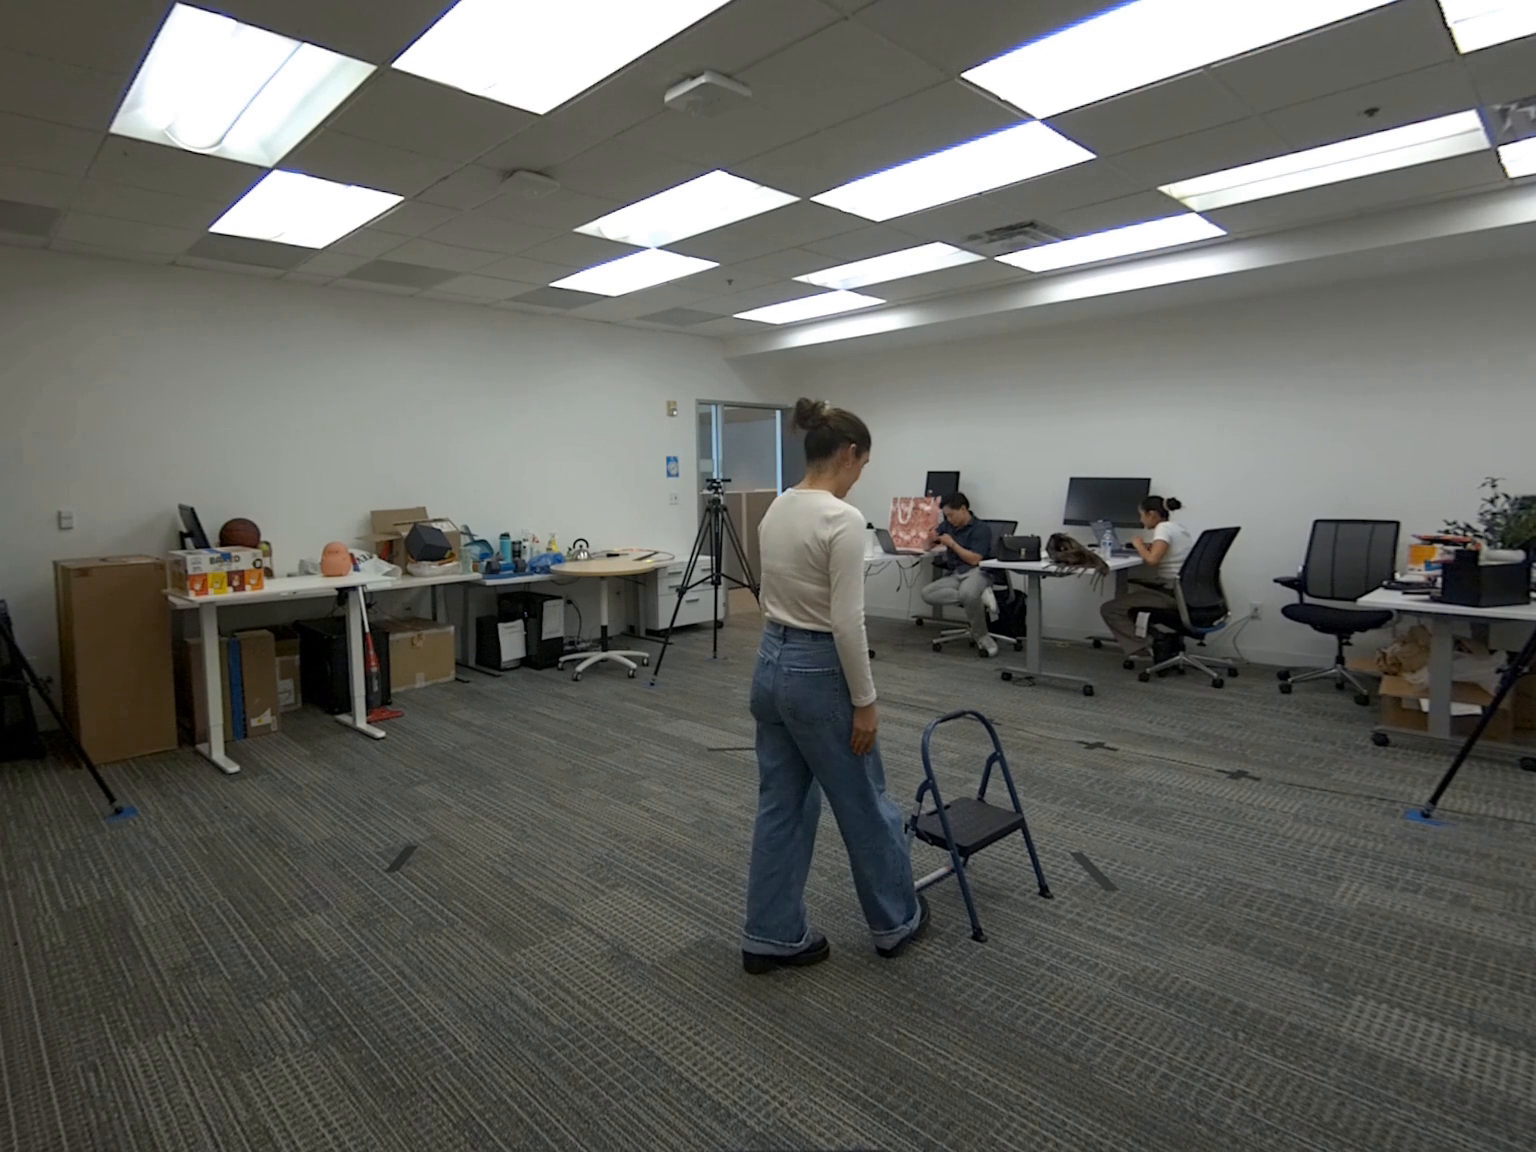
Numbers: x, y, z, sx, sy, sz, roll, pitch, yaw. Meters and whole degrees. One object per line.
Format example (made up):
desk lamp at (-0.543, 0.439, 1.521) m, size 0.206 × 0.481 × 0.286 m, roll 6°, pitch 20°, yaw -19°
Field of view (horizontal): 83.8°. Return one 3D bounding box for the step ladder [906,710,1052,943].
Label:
step ladder at (0.673, 0.762, 2.802) m, size 0.419 × 0.604 × 0.360 m, roll -4°, pitch 6°, yaw -43°
